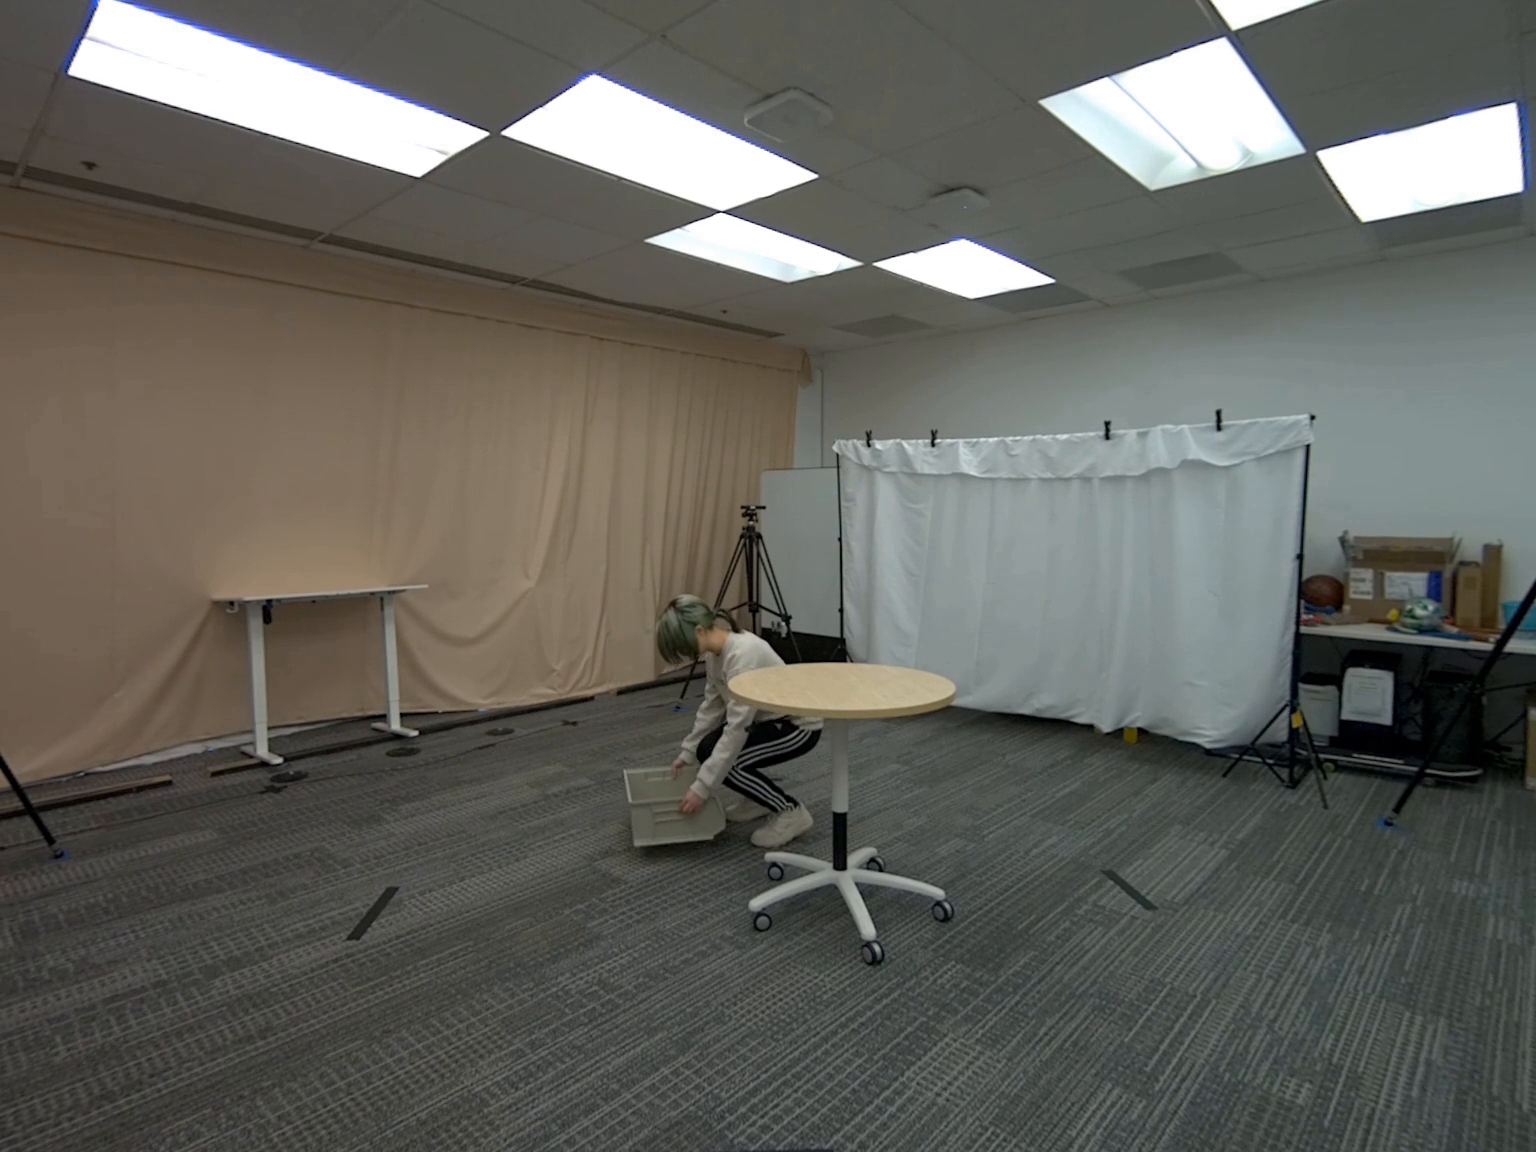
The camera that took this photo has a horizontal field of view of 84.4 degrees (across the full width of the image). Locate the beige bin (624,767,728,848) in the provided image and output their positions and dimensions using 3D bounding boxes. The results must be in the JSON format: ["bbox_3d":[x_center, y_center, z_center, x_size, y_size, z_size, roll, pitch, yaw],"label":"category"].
[{"bbox_3d":[-0.404,0.931,3.503,0.373,0.188,0.428,-2,5,-12],"label":"beige bin"}]
